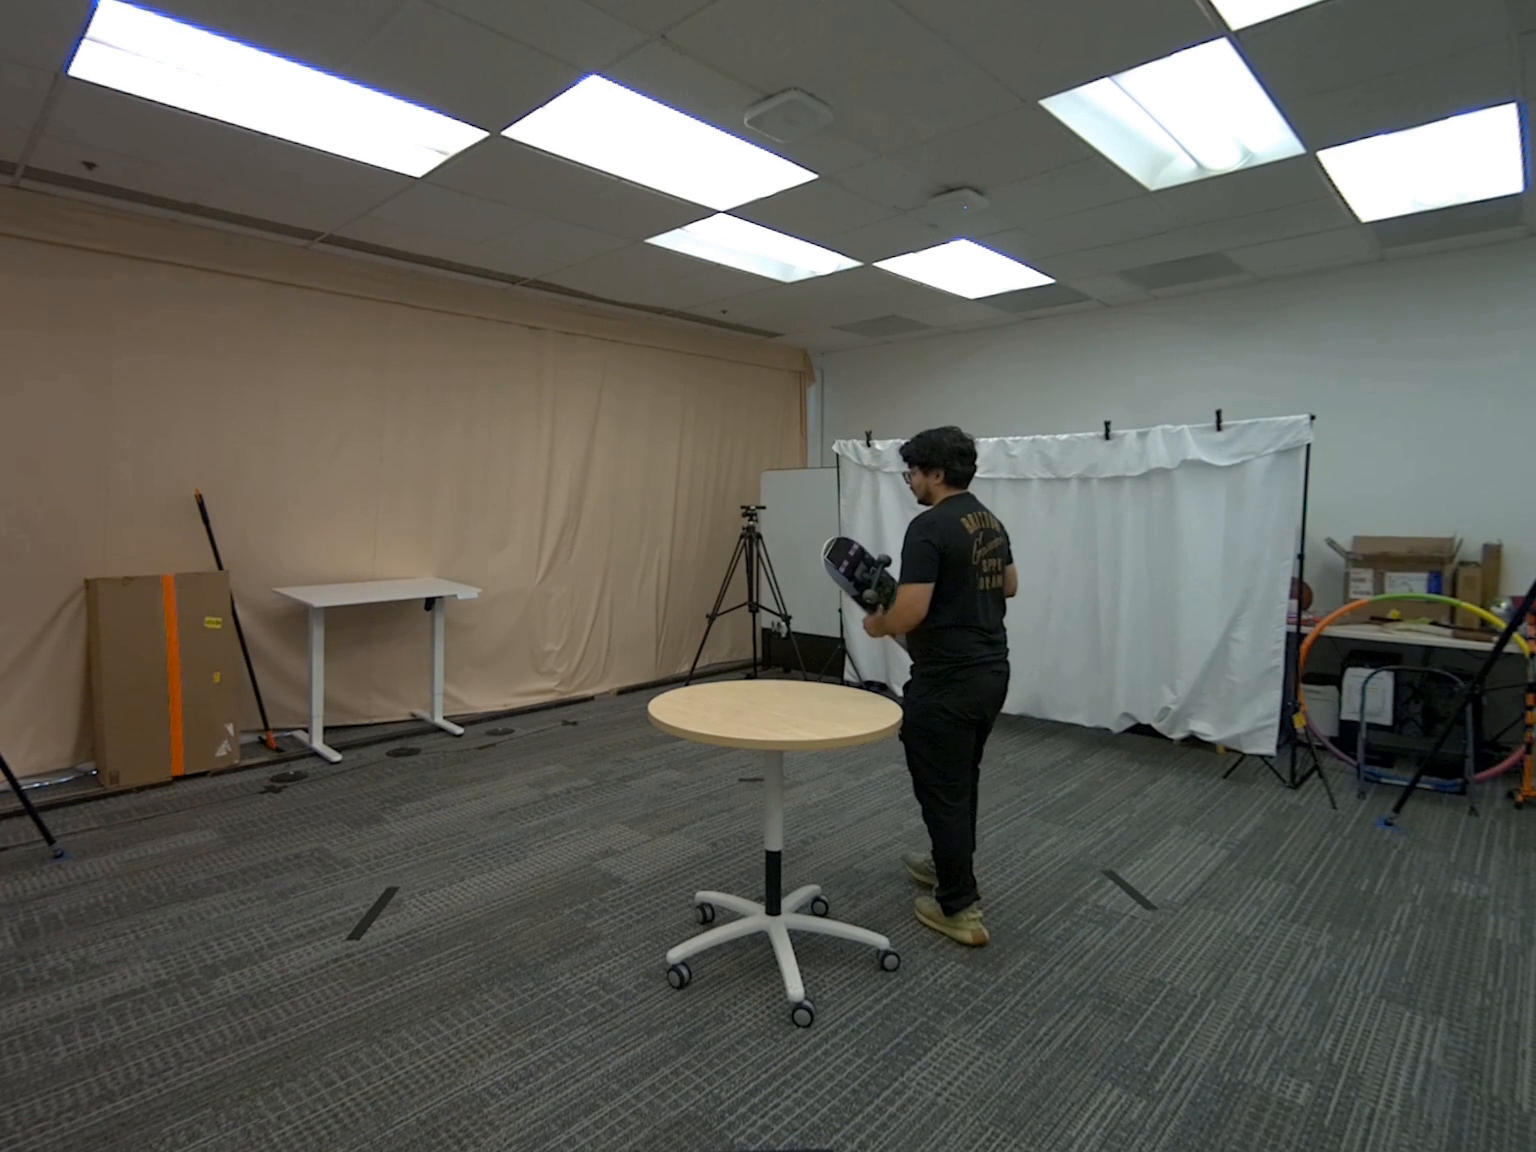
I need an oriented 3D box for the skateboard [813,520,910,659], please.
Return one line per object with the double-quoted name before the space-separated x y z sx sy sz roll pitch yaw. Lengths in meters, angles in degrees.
"skateboard" 0.491 0.135 2.938 0.767 0.193 0.113 41 -32 -21
